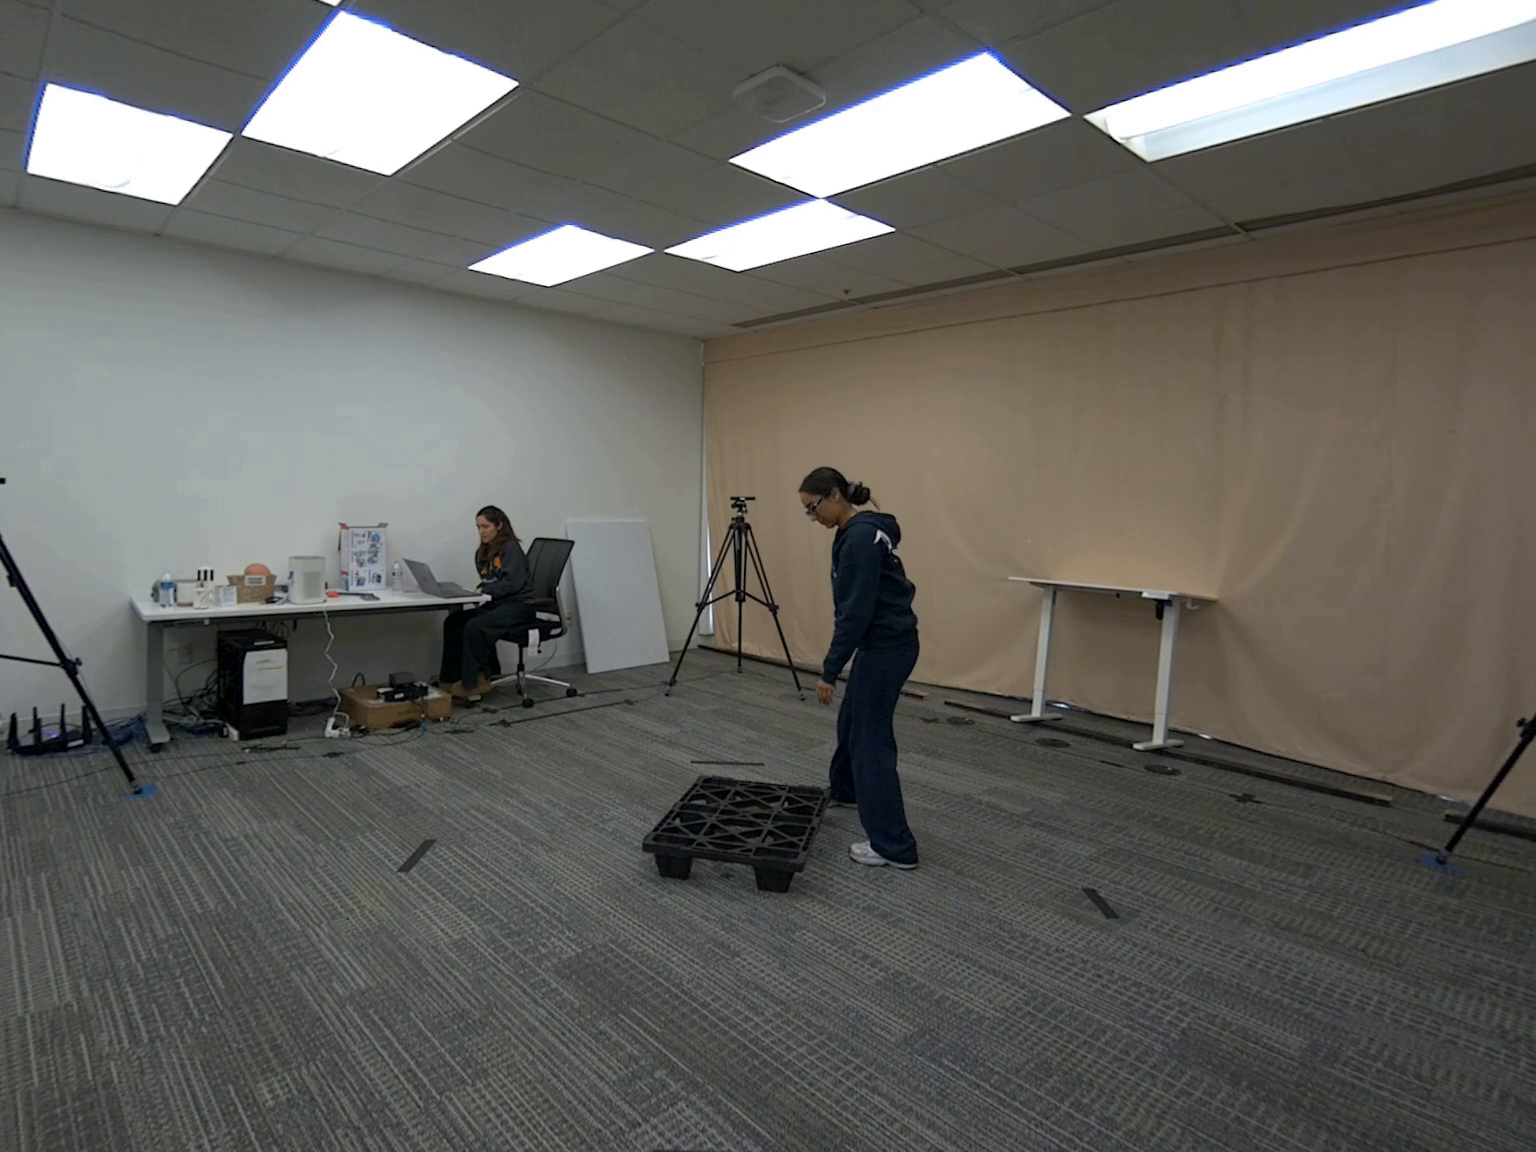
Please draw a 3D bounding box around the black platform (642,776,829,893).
[{"bbox_3d":[-0.097,1.015,3.378,0.611,0.143,0.800,3,5,12],"label":"black platform"}]
